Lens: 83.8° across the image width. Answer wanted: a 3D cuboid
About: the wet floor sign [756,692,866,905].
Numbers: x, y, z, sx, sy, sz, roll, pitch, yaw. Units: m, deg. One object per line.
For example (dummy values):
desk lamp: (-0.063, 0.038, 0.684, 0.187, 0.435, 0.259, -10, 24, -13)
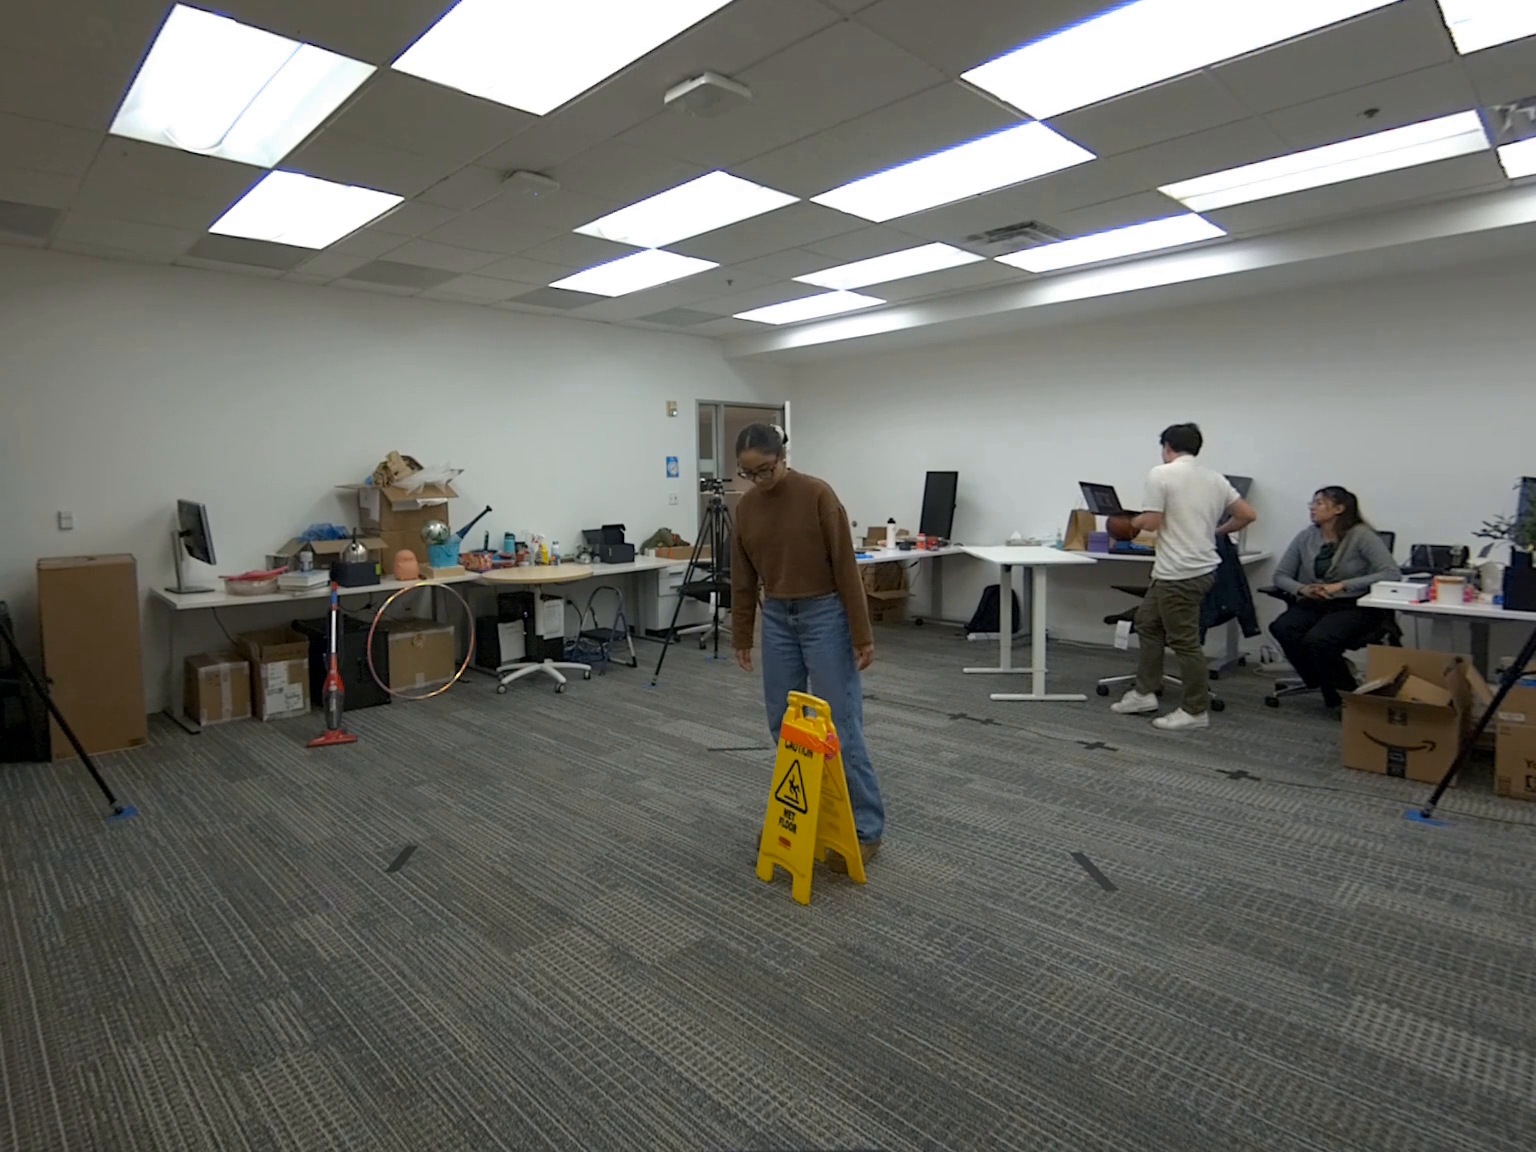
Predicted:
wet floor sign: (0.141, 0.740, 2.952, 0.283, 0.643, 0.290, -4, 6, -33)
